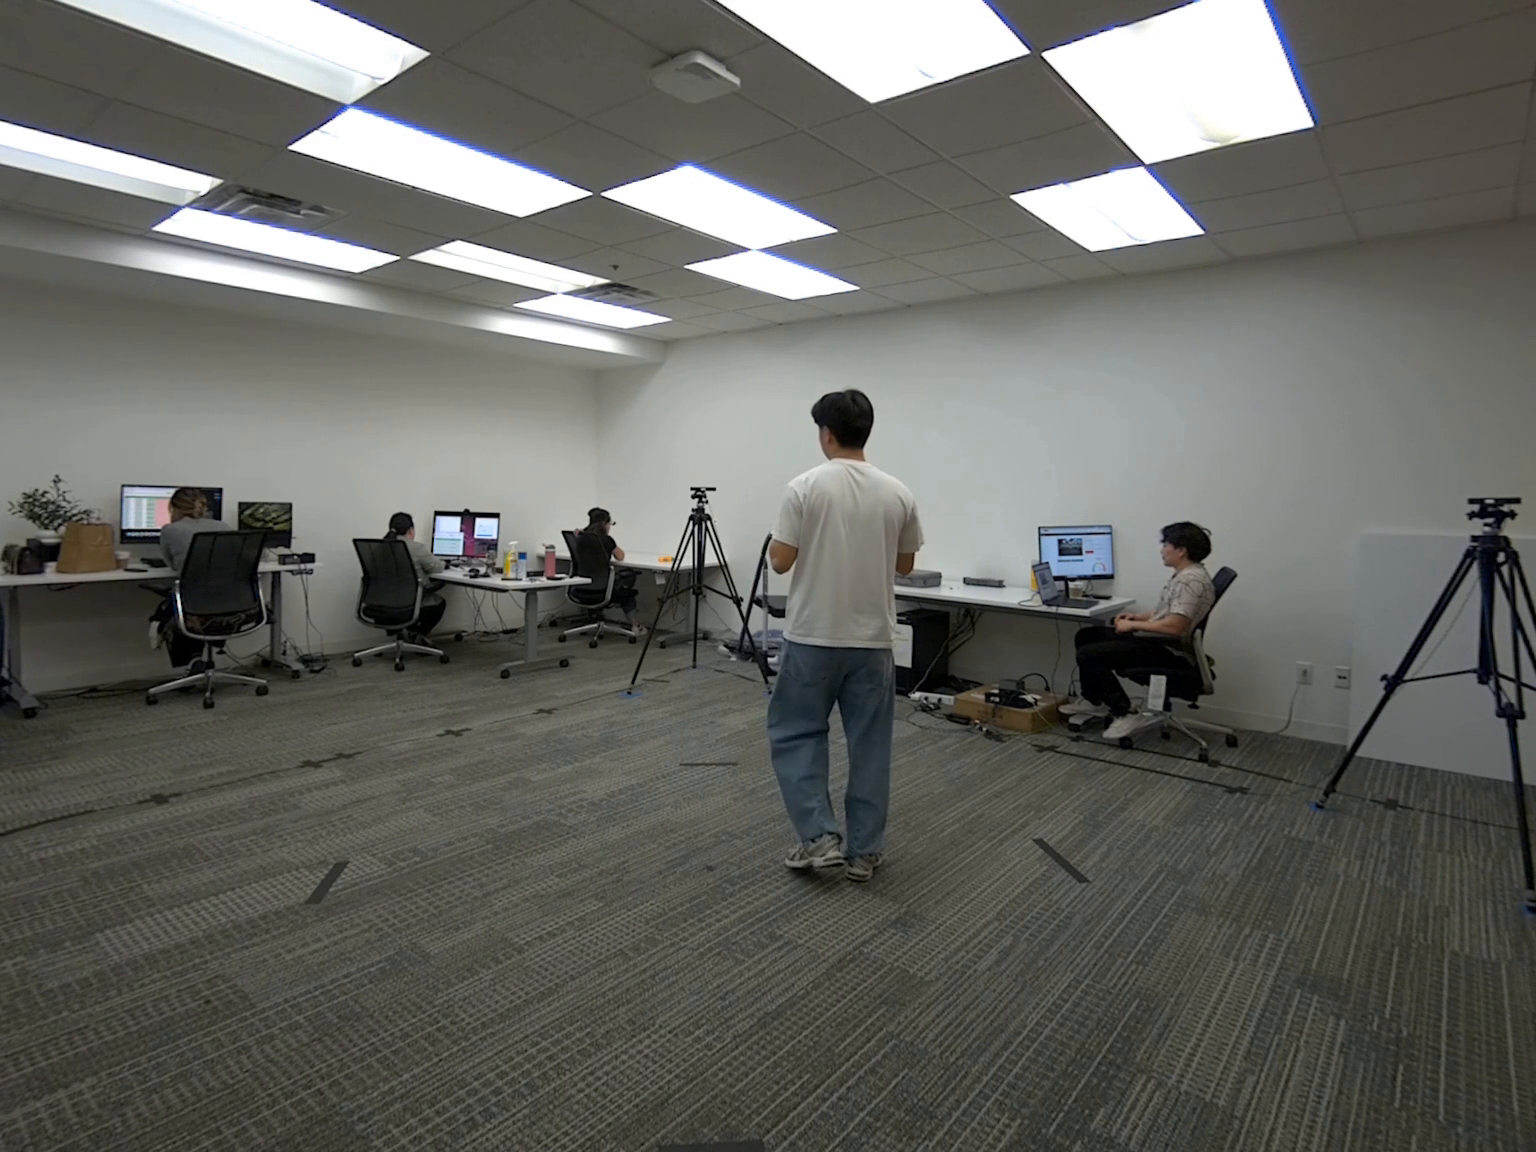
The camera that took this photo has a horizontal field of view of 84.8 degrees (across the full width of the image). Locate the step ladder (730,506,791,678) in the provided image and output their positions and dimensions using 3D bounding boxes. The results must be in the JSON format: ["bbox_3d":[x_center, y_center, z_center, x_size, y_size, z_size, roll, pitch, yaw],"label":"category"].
[{"bbox_3d":[0.134,0.054,3.385,0.422,0.601,0.359,2,9,-20],"label":"step ladder"}]
